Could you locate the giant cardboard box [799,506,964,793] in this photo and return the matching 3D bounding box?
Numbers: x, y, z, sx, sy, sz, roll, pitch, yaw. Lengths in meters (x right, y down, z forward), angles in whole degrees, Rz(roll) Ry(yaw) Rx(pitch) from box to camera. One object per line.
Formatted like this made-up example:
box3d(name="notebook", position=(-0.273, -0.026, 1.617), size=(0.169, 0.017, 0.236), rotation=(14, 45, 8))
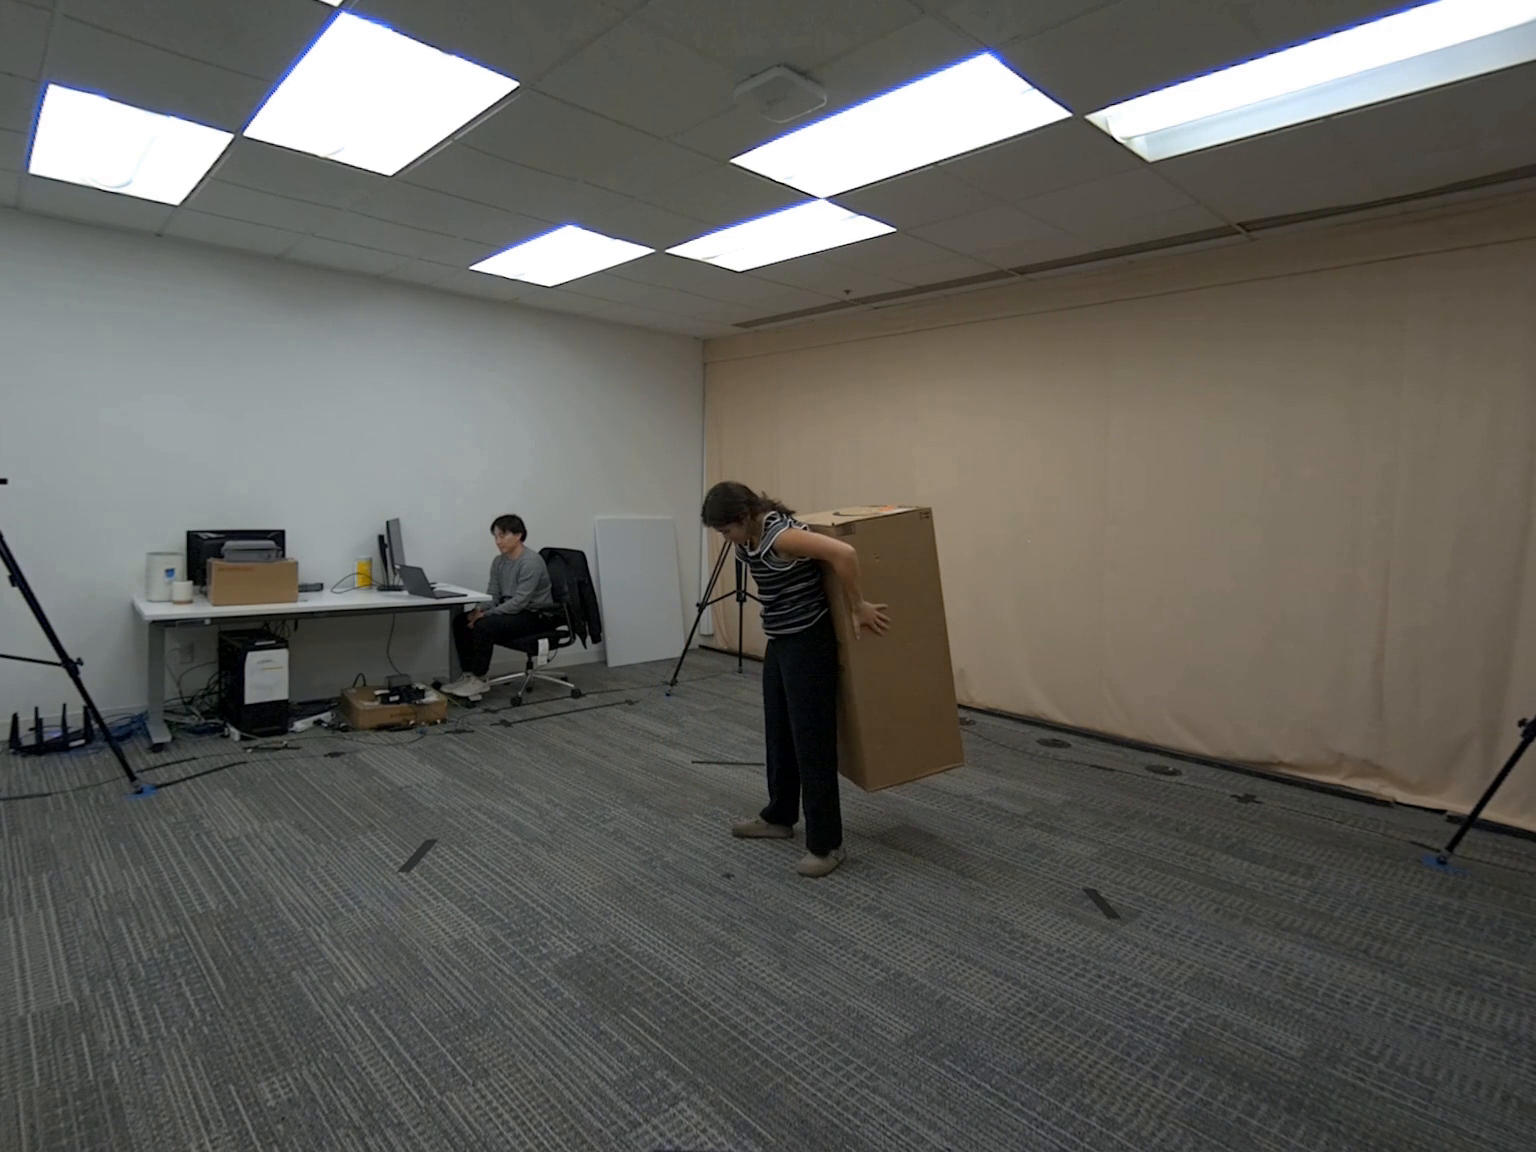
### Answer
box3d(name="giant cardboard box", position=(0.396, 0.254, 3.435), size=(0.421, 1.020, 0.587), rotation=(-11, 7, -19))
